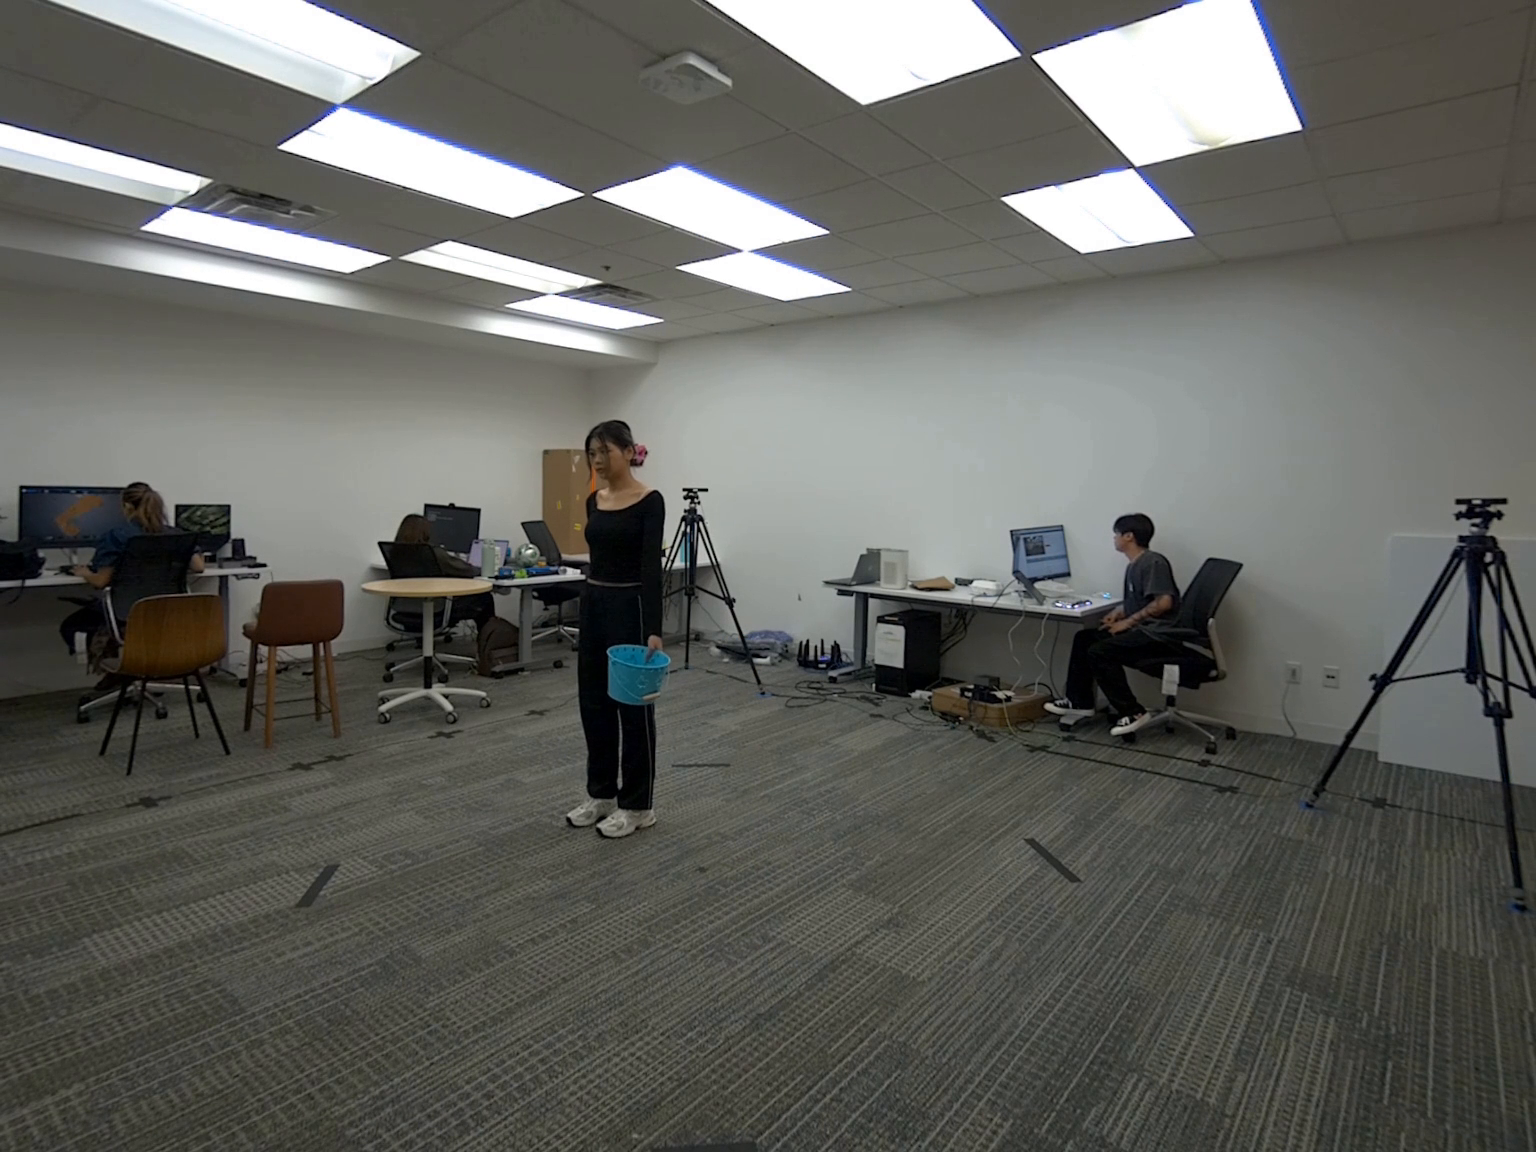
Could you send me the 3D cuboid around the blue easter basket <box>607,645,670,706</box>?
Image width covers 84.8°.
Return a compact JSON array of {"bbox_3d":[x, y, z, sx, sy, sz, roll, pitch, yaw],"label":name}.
[{"bbox_3d":[-0.489,0.355,3.082,0.243,0.155,0.246,8,10,-3],"label":"blue easter basket"}]
